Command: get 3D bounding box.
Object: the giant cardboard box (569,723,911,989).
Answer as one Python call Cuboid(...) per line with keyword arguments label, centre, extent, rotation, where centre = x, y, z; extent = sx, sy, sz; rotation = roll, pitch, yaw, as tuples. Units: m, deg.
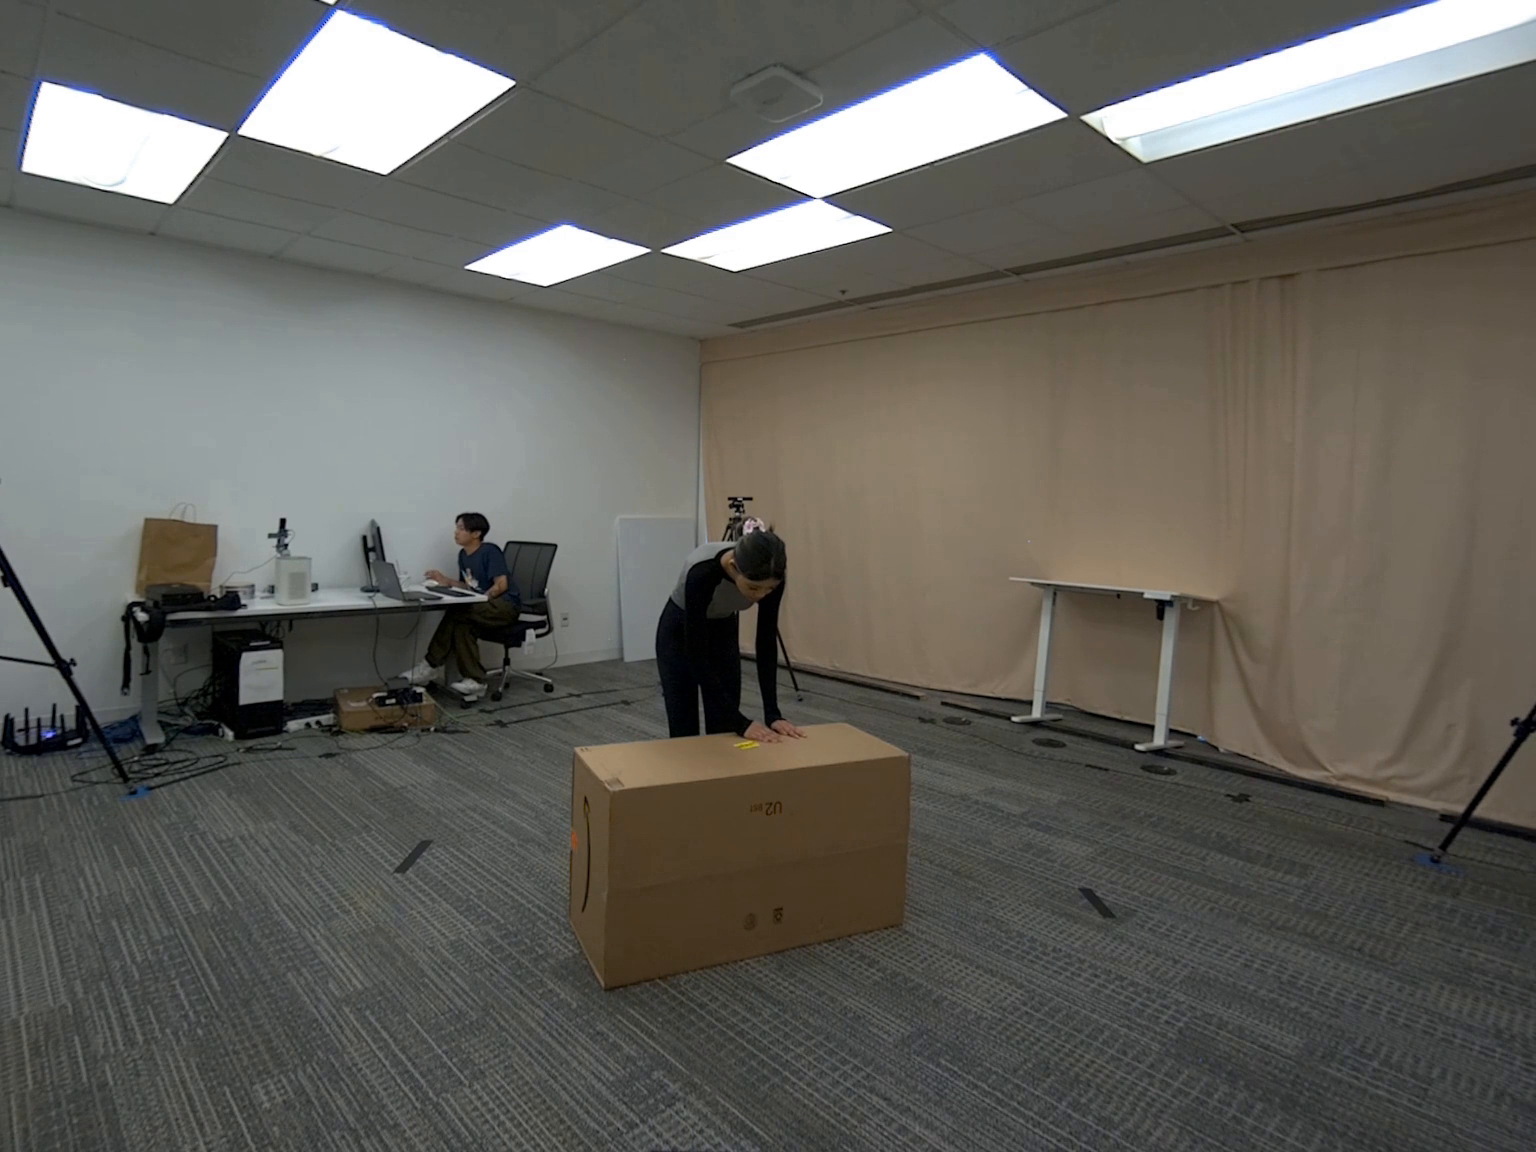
Cuboid(label="giant cardboard box", centre=(-0.092, 0.854, 2.743), extent=(1.008, 0.576, 0.435), rotation=(0, 4, -24))
